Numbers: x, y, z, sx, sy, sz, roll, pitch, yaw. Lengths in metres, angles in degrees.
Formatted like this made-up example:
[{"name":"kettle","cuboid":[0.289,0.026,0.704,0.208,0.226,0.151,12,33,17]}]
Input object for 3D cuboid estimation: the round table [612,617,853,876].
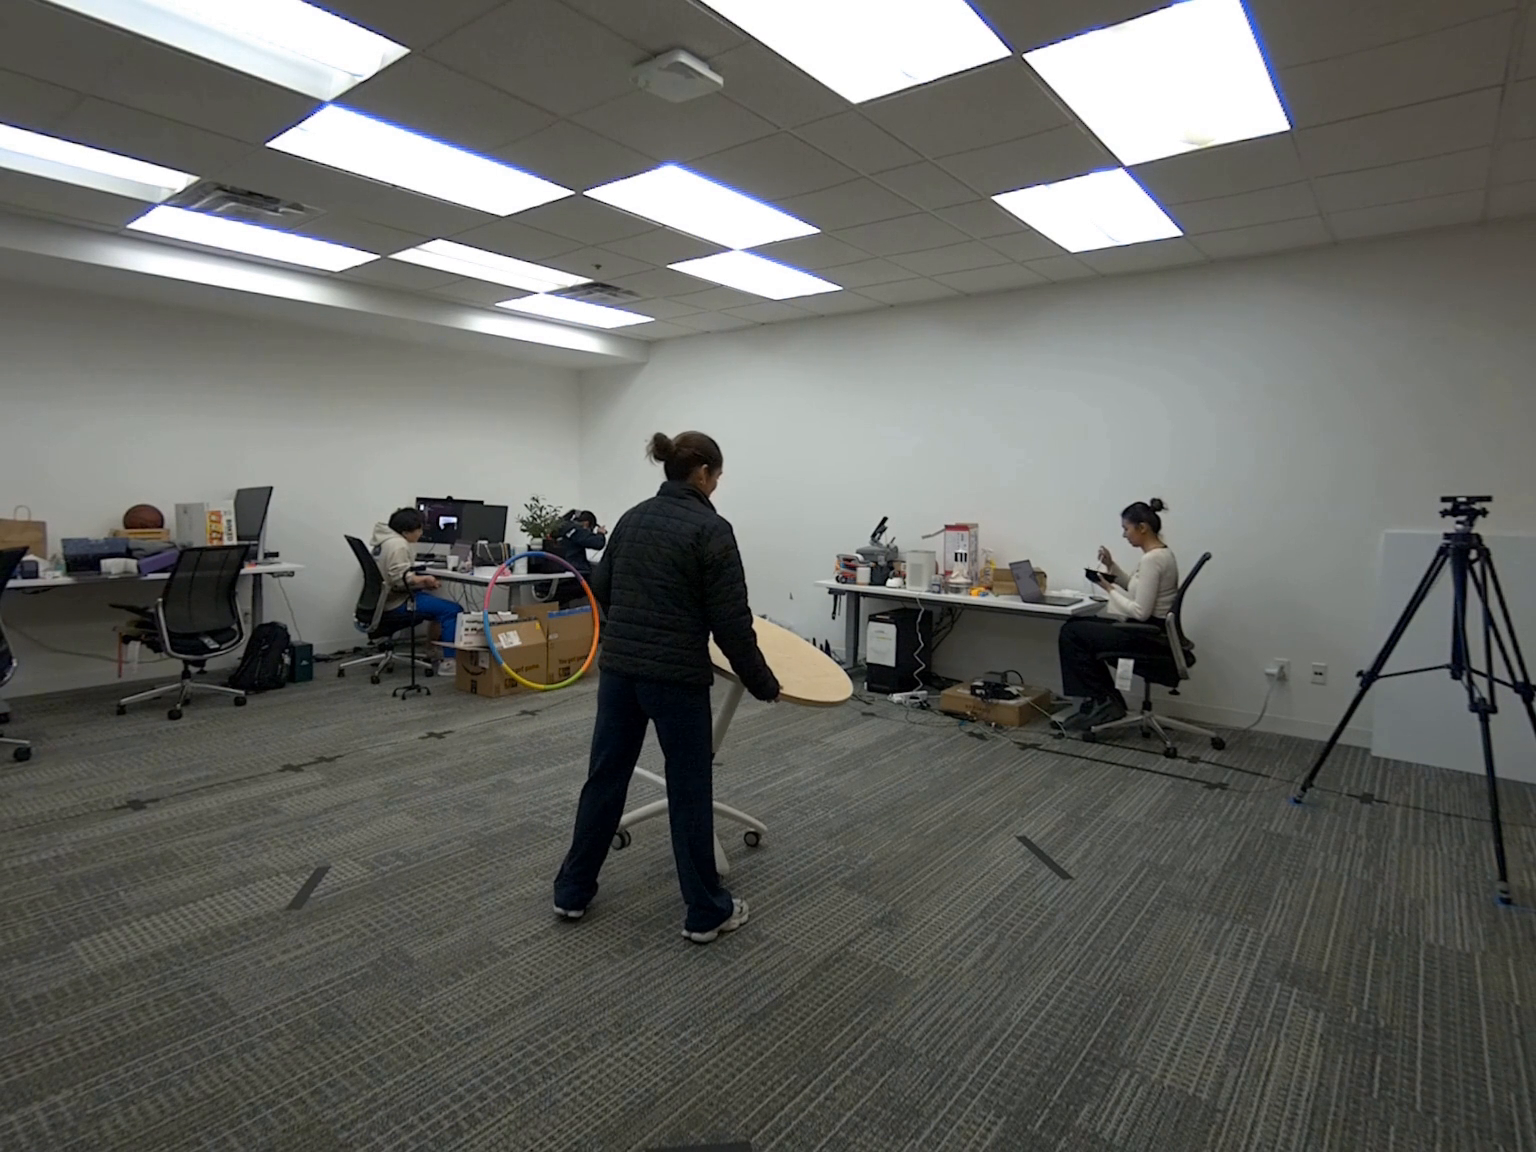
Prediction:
[{"name":"round table","cuboid":[-0.192,0.594,3.179,0.780,0.782,0.796,21,11,-6]}]
